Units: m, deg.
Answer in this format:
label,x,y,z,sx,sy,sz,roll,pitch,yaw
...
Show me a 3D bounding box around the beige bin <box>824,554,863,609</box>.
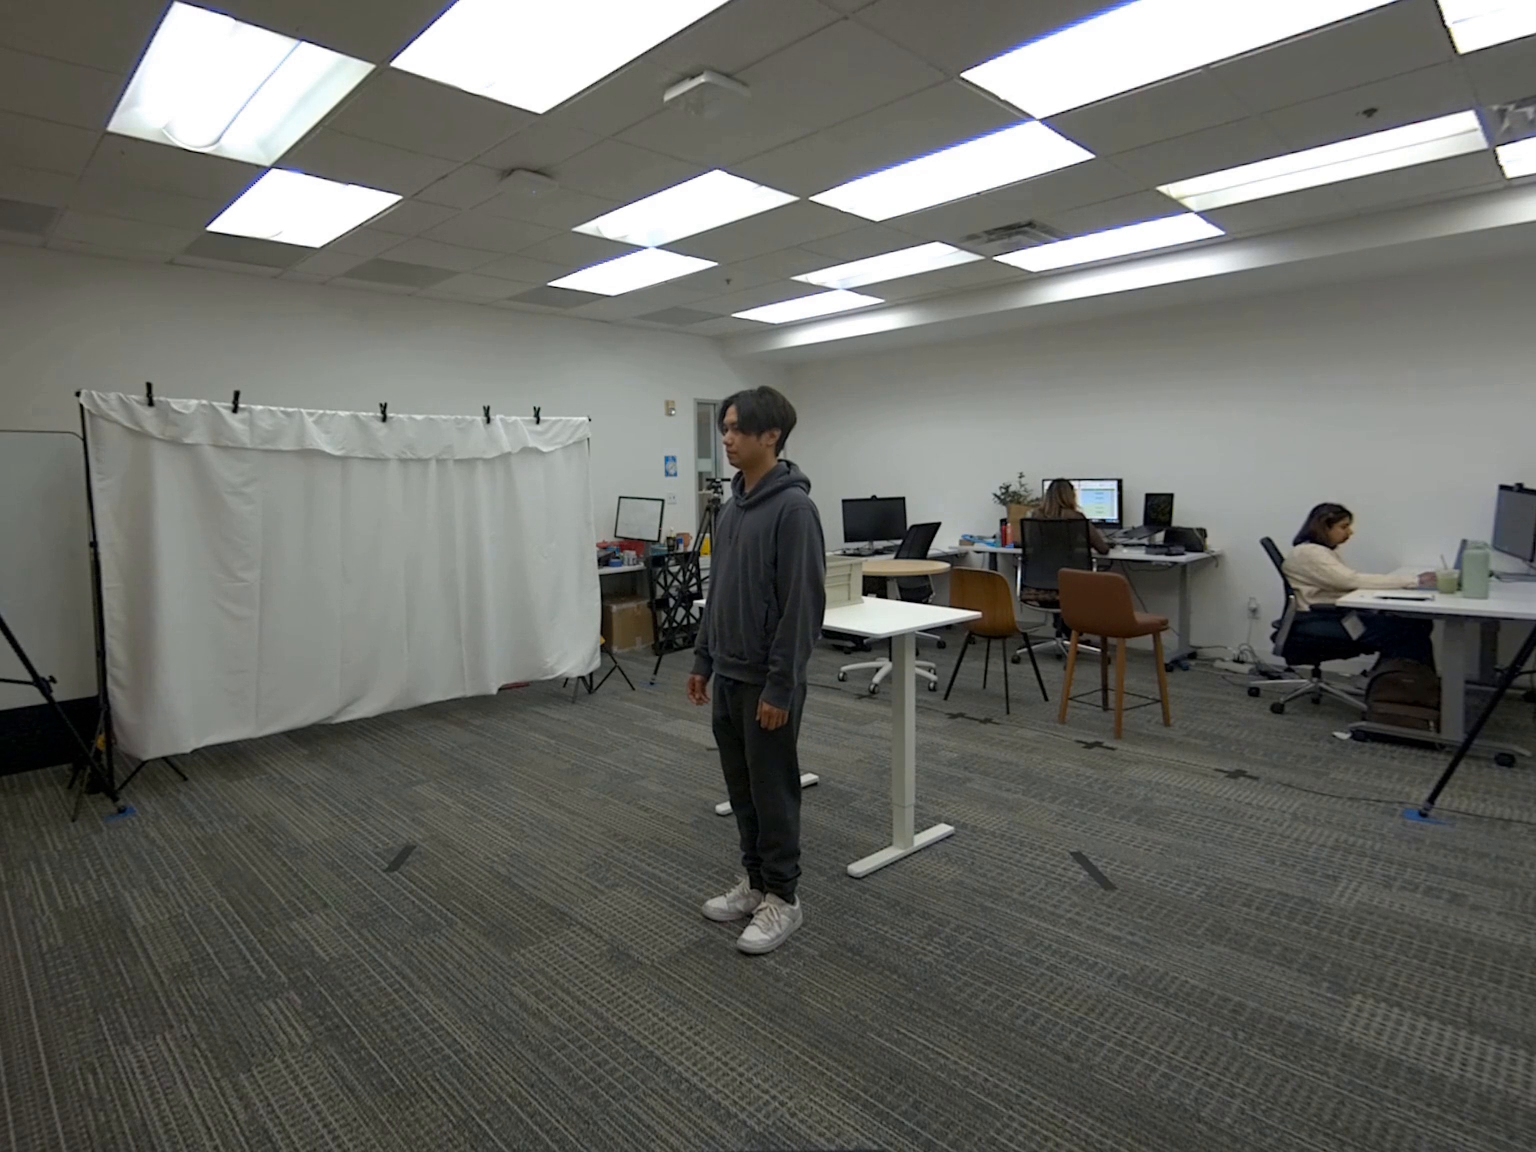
label,x,y,z,sx,sy,sz,roll,pitch,yaw
beige bin,0.128,0.020,3.509,0.367,0.188,0.435,-6,8,-41
